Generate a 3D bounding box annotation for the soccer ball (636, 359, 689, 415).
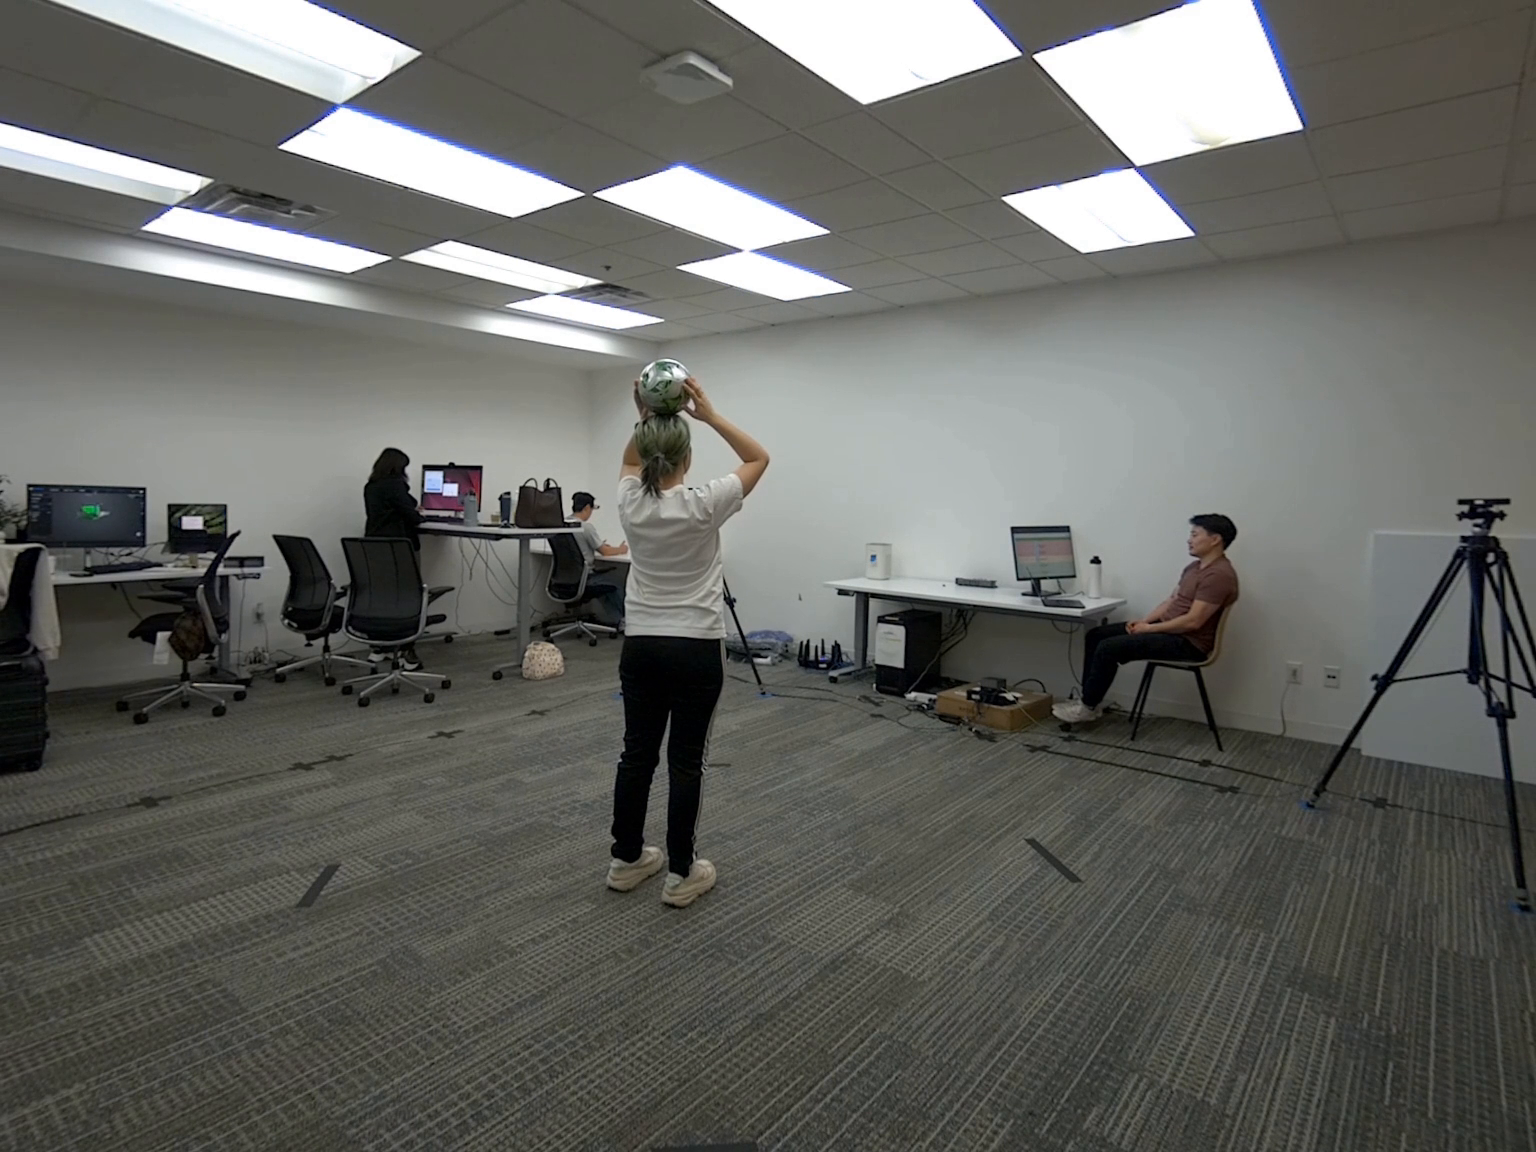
[{"bbox_3d":[-0.354,-0.638,2.869,0.187,0.187,0.188,1,4,-2],"label":"soccer ball"}]
